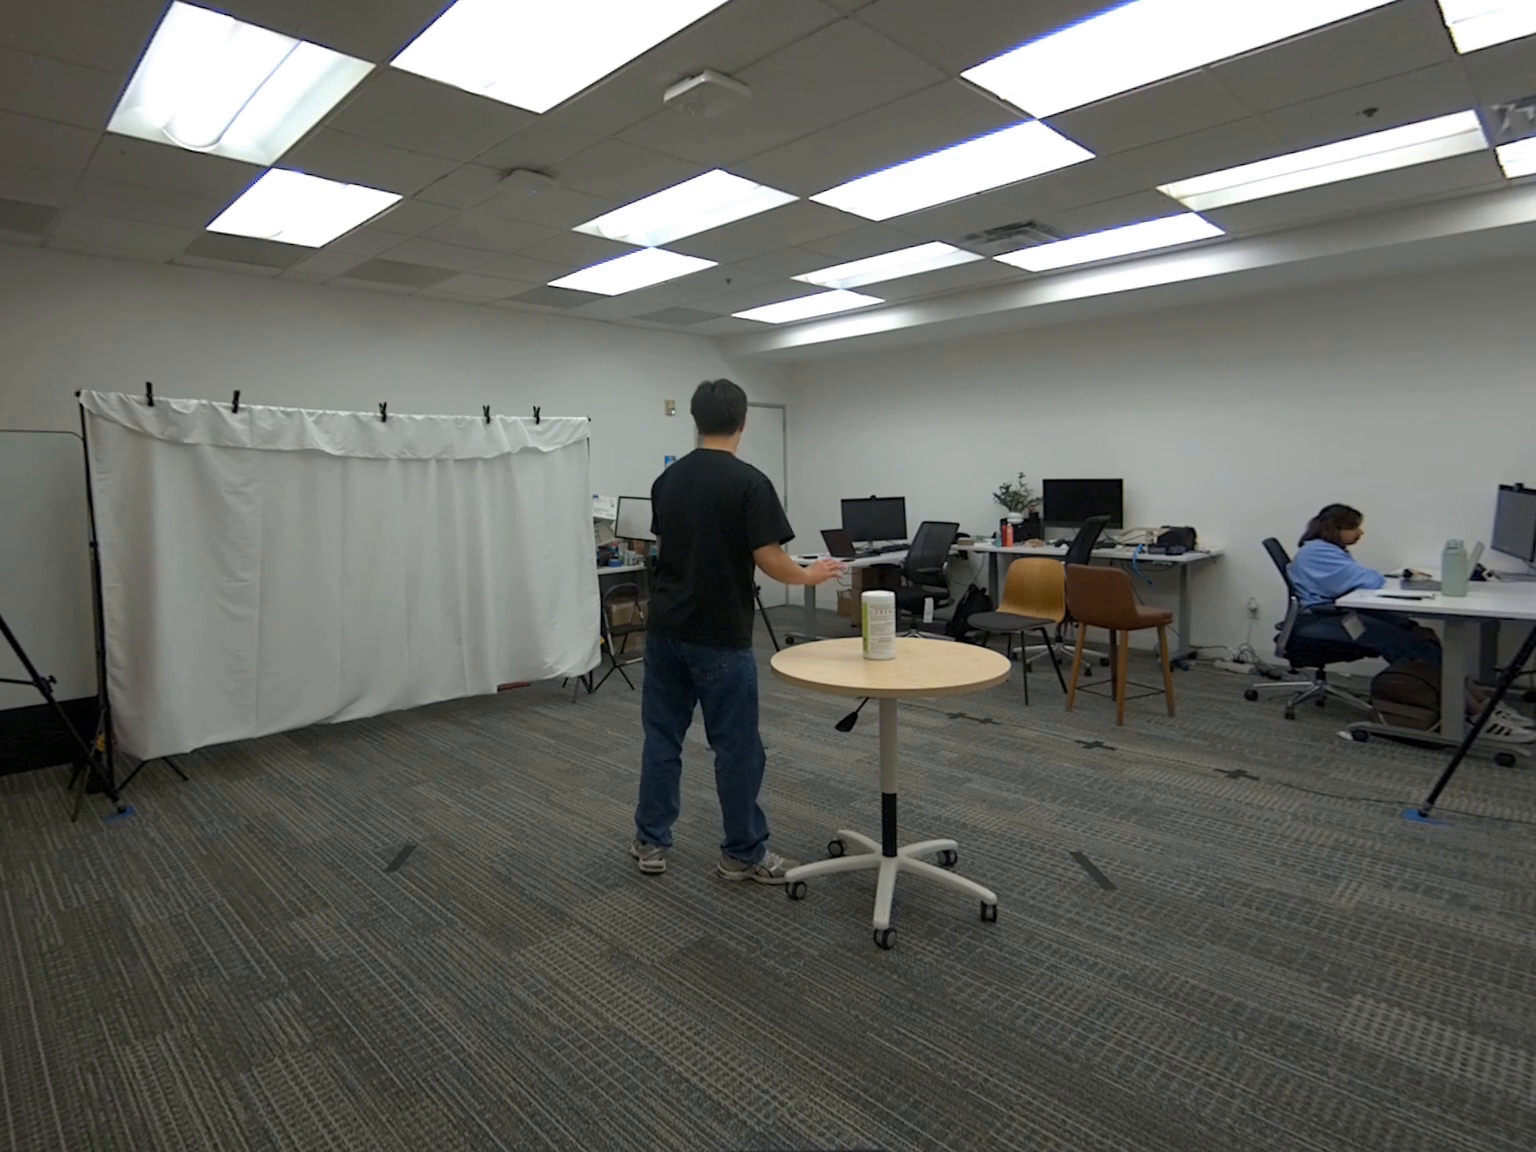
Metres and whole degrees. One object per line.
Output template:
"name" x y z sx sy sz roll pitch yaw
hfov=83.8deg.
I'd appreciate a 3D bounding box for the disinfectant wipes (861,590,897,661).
"disinfectant wipes" 0.368 0.164 2.828 0.118 0.217 0.118 -3 4 -1
